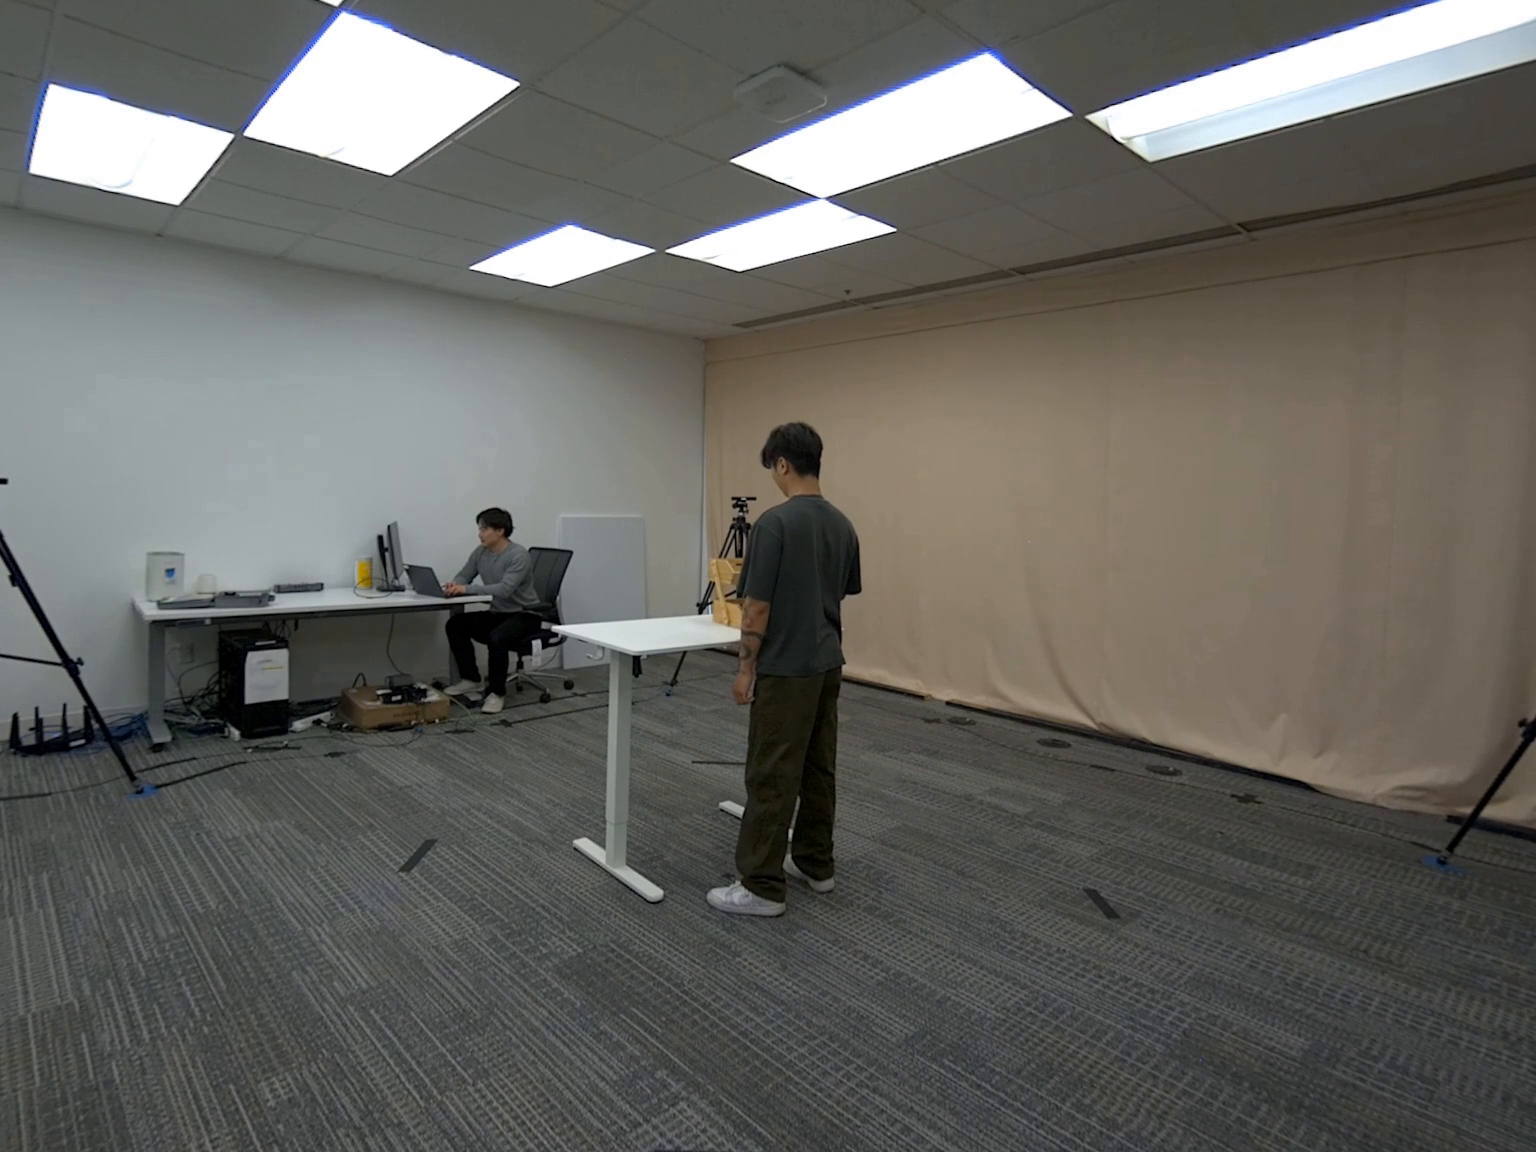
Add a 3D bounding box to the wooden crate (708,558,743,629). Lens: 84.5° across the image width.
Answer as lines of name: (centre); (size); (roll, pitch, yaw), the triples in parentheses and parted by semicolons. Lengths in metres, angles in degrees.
wooden crate: (-0.056, 0.065, 3.472); (0.317, 0.273, 0.309); (-1, 4, -32)
